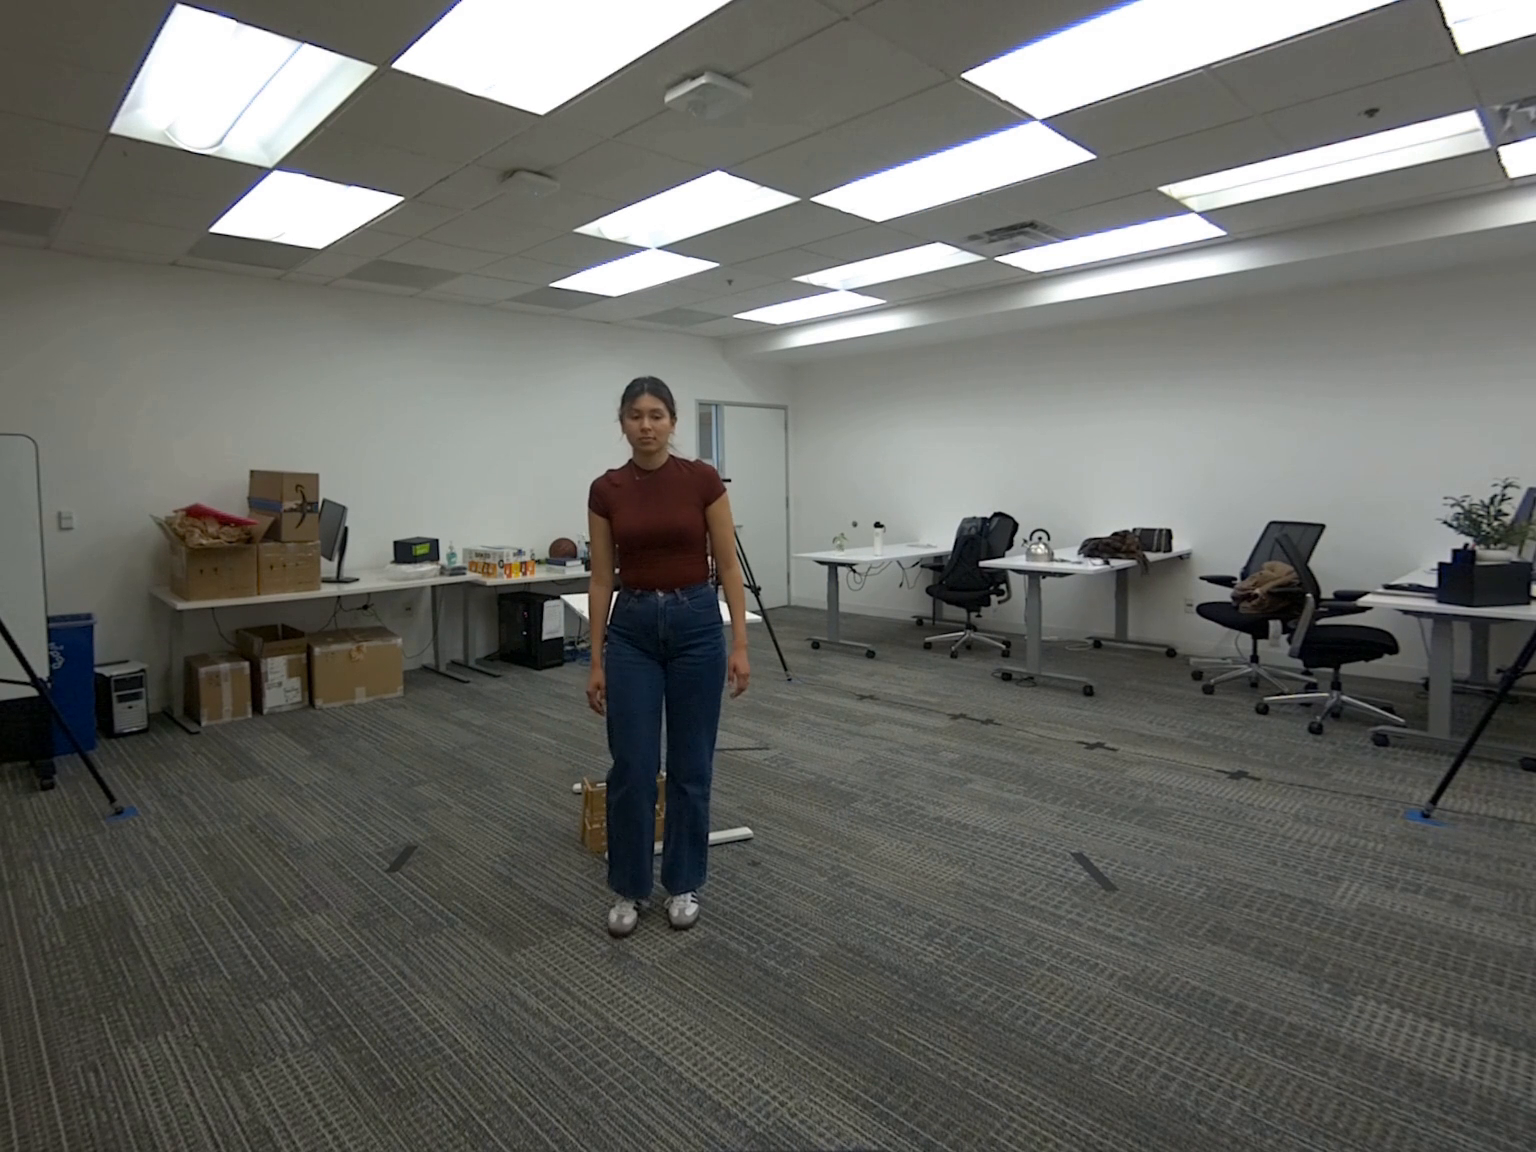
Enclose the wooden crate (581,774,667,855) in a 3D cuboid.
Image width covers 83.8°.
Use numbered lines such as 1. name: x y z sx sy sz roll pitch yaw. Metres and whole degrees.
1. wooden crate: -0.573 0.896 3.348 0.319 0.272 0.308 -3 5 -20
